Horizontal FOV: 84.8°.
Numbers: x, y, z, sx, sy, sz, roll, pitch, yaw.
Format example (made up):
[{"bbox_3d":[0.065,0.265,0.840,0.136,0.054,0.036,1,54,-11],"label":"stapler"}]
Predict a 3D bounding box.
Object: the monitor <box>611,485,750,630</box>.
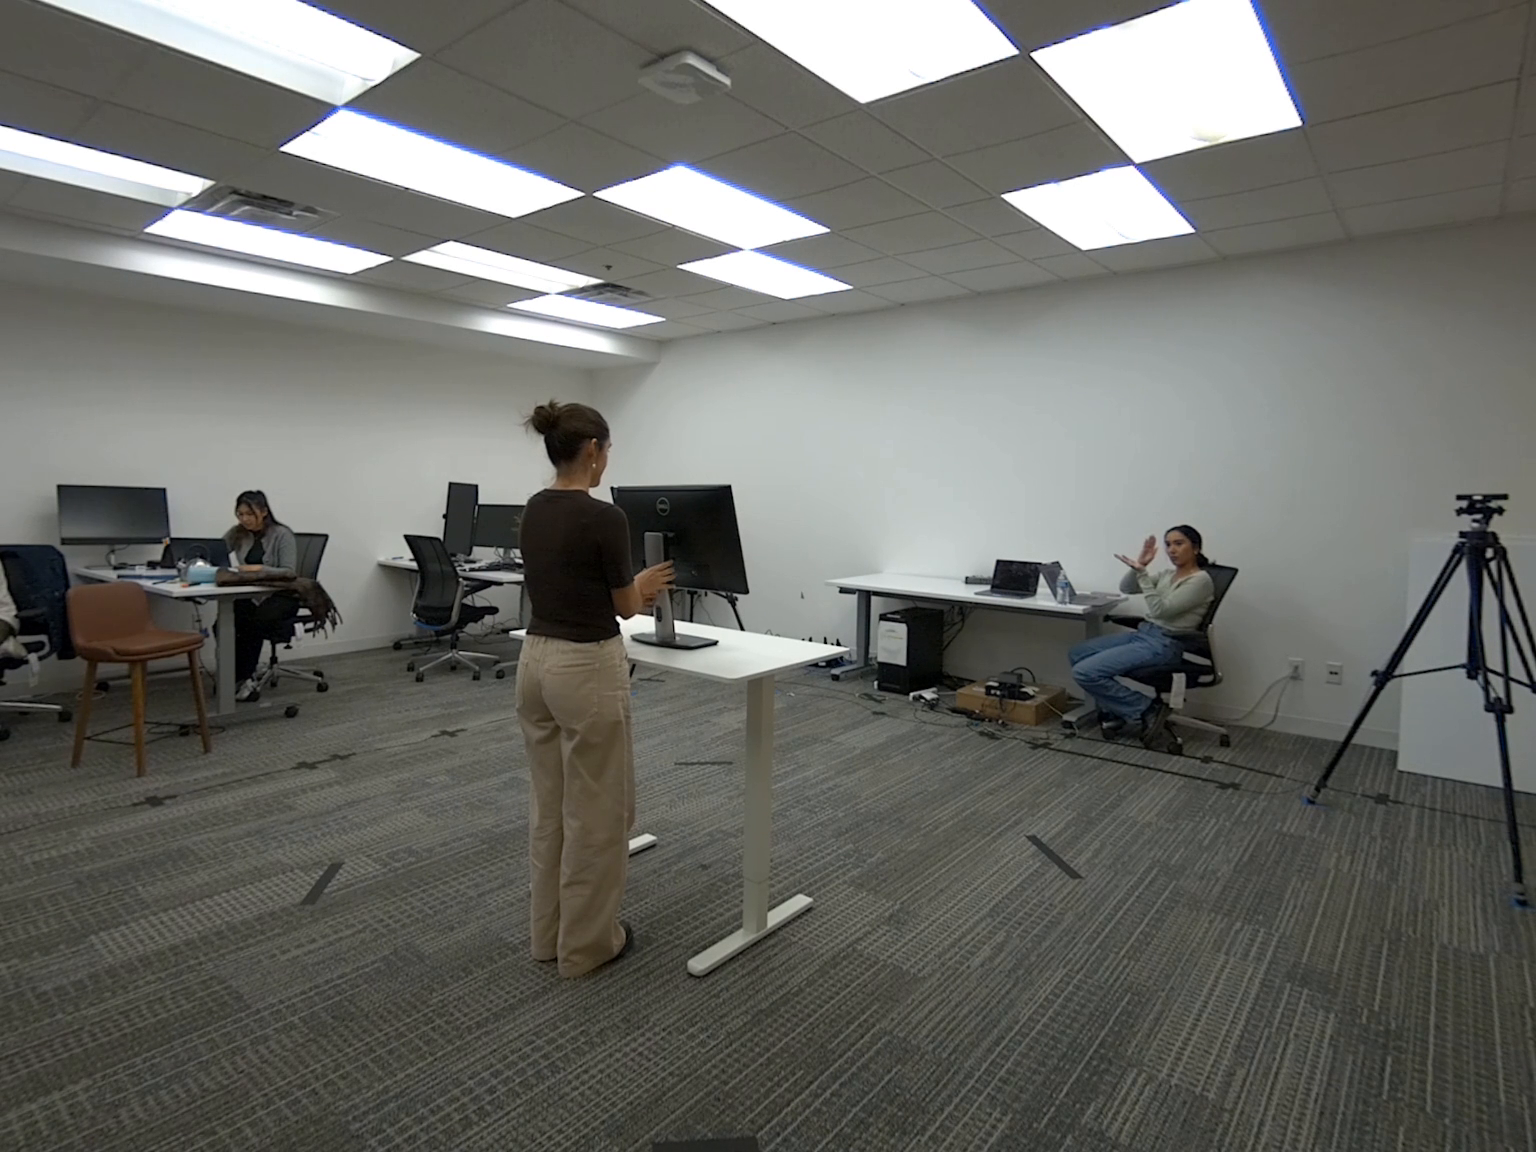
[{"bbox_3d":[-0.323,-0.038,2.768,0.557,0.520,0.182,3,5,38],"label":"monitor"}]
